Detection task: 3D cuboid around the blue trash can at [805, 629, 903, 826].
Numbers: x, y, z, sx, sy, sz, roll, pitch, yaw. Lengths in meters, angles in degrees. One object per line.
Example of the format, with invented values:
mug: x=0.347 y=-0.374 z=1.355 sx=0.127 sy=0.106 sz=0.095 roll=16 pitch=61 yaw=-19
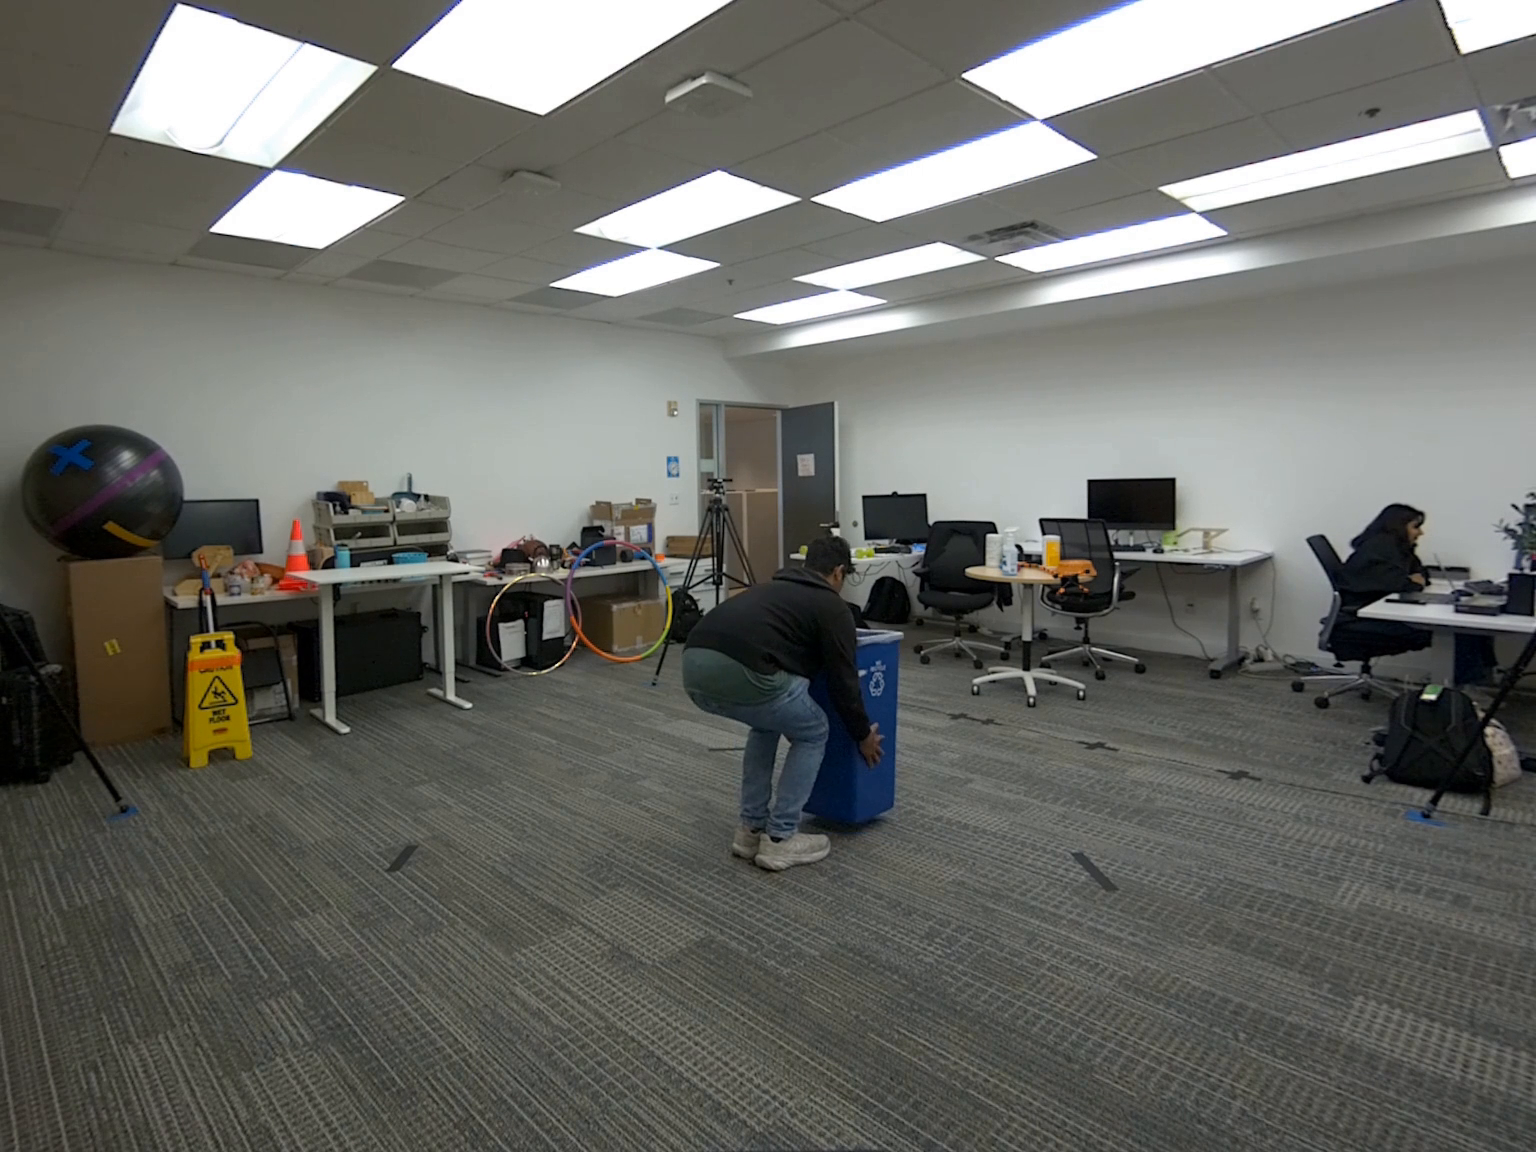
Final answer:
blue trash can: x=0.318 y=0.577 z=3.498 sx=0.389 sy=0.714 sz=0.363 roll=0 pitch=0 yaw=41
